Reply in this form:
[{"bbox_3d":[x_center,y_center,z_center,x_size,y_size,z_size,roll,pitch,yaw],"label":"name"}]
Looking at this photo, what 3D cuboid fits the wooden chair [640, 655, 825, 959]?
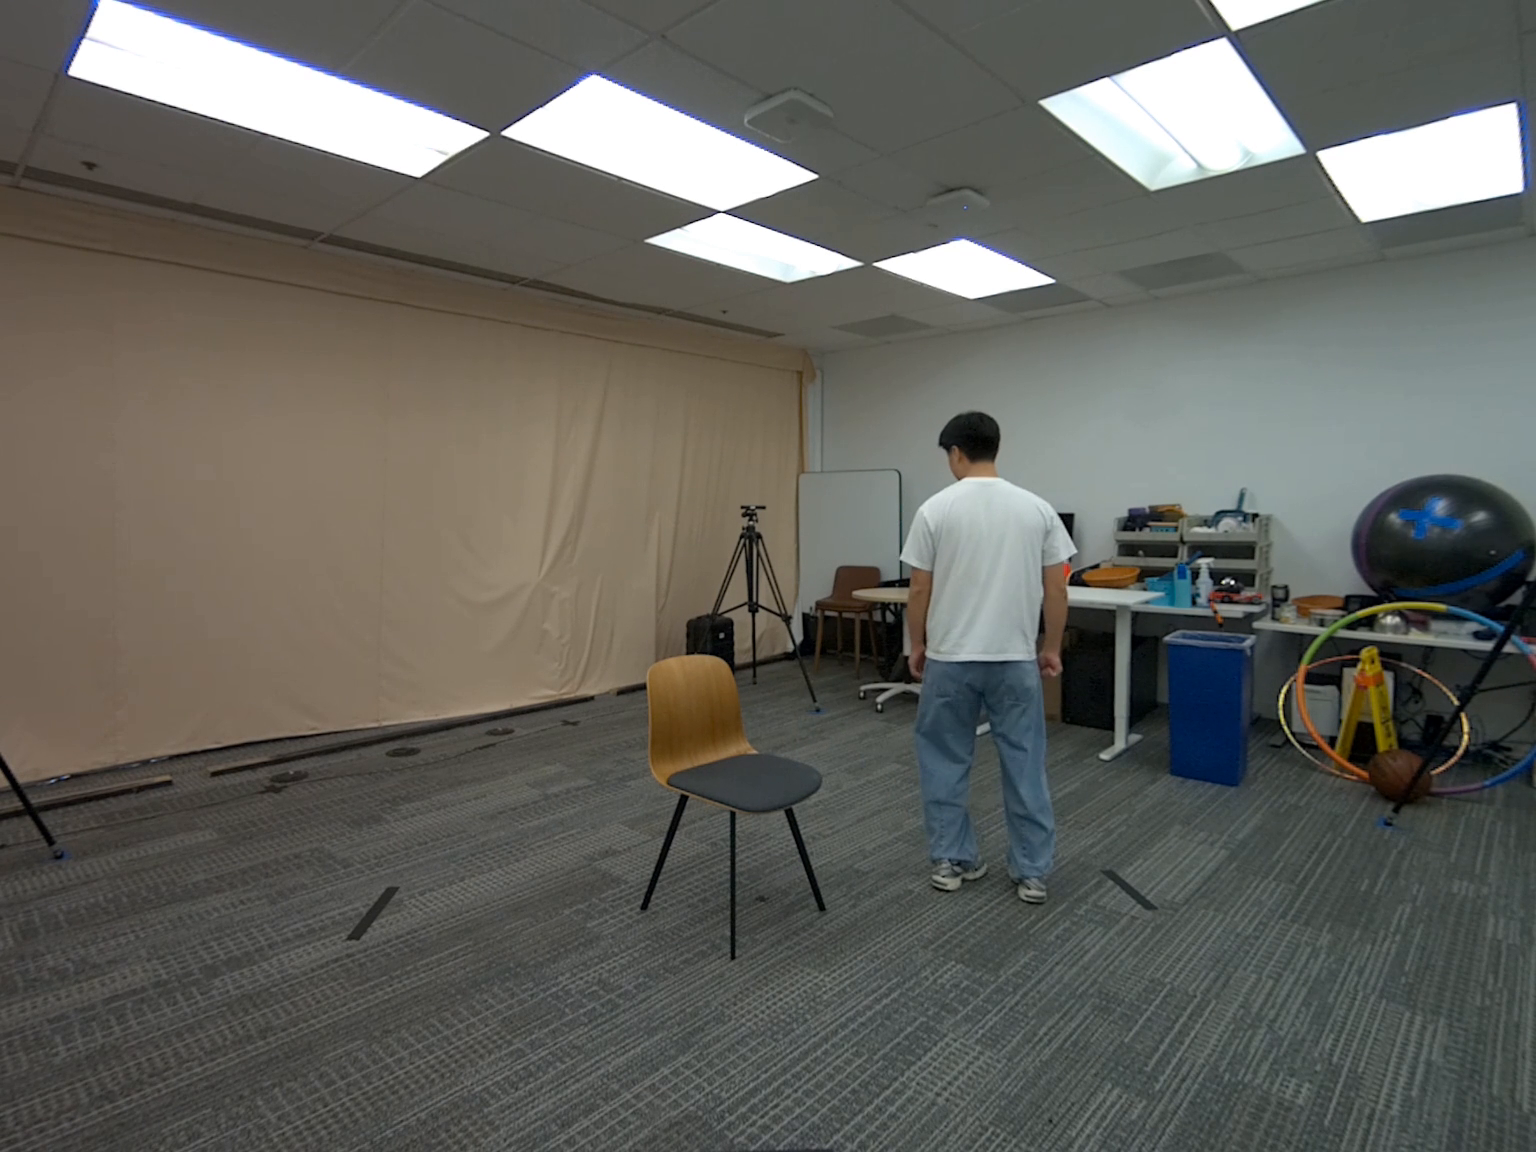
[{"bbox_3d":[-0.112,0.730,2.857,0.539,0.877,0.463,-3,1,45],"label":"wooden chair"}]
